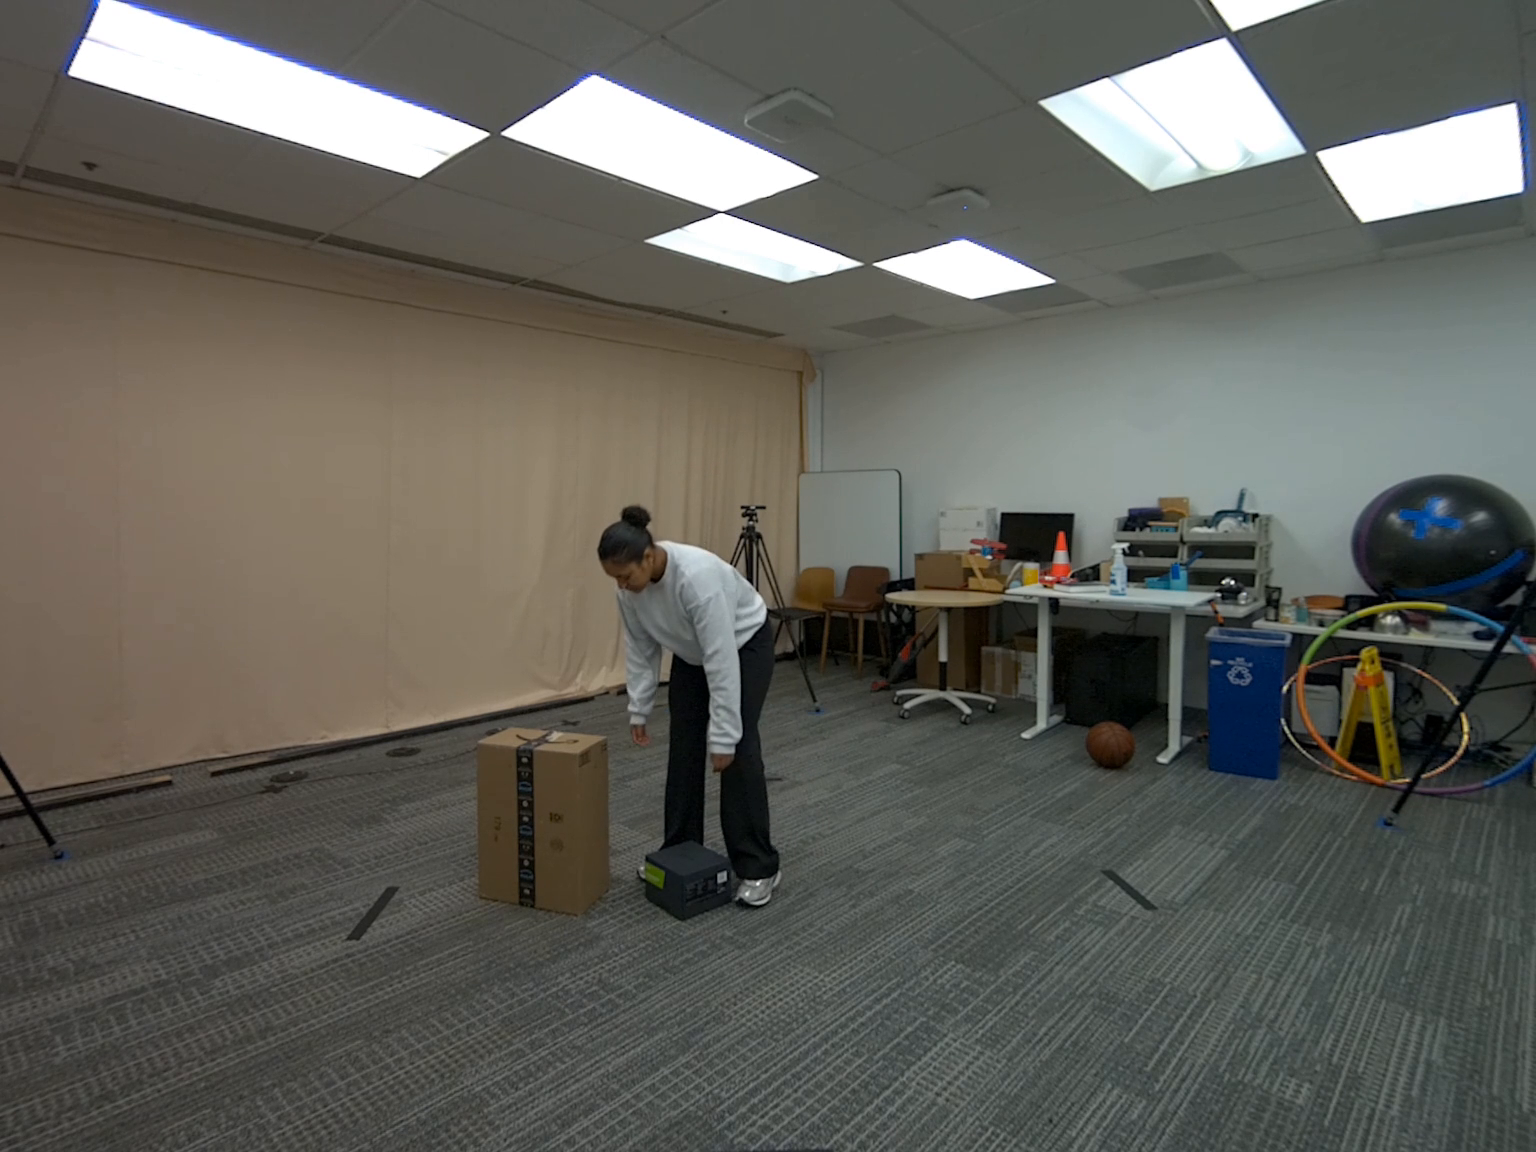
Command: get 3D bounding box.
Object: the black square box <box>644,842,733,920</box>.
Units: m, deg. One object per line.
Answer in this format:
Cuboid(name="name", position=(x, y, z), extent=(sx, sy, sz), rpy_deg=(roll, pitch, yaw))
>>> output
Cuboid(name="black square box", position=(-0.290, 1.064, 2.960), extent=(0.210, 0.155, 0.235), rpy_deg=(-4, 6, -40))
